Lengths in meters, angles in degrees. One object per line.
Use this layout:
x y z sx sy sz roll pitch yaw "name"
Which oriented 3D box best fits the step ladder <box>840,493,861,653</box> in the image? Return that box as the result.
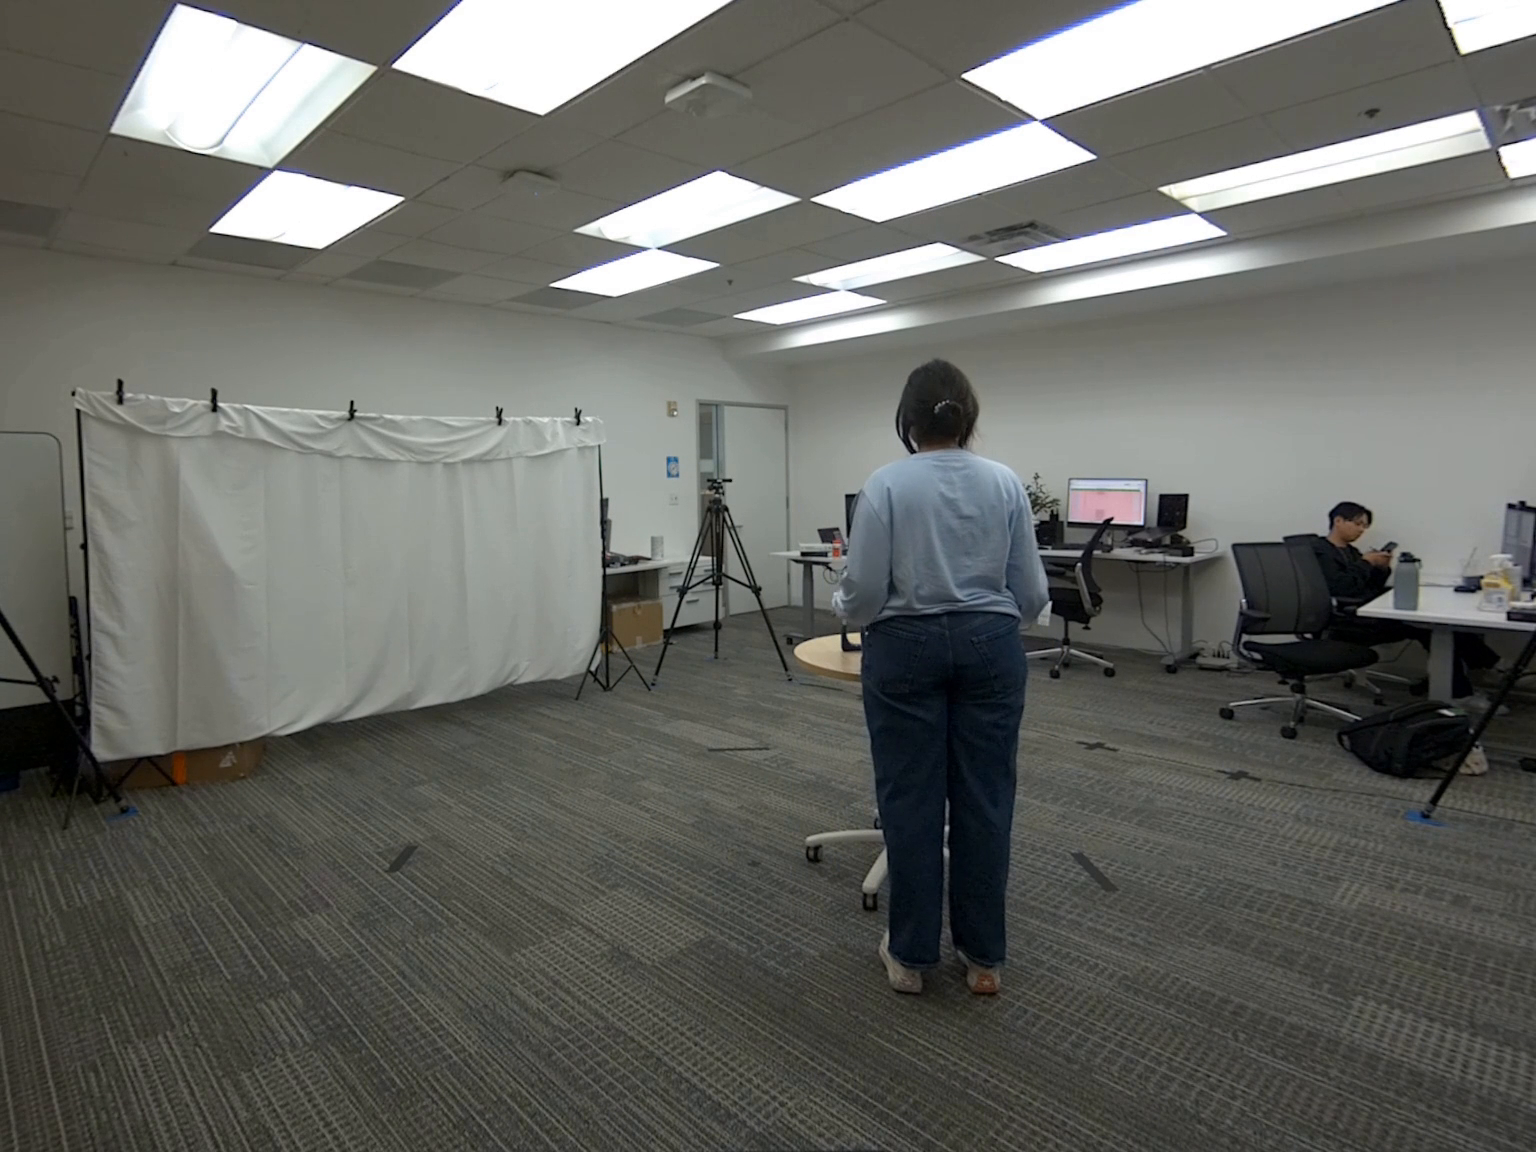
0.493 -0.022 2.840 0.428 0.603 0.353 -1 6 -7 "step ladder"
